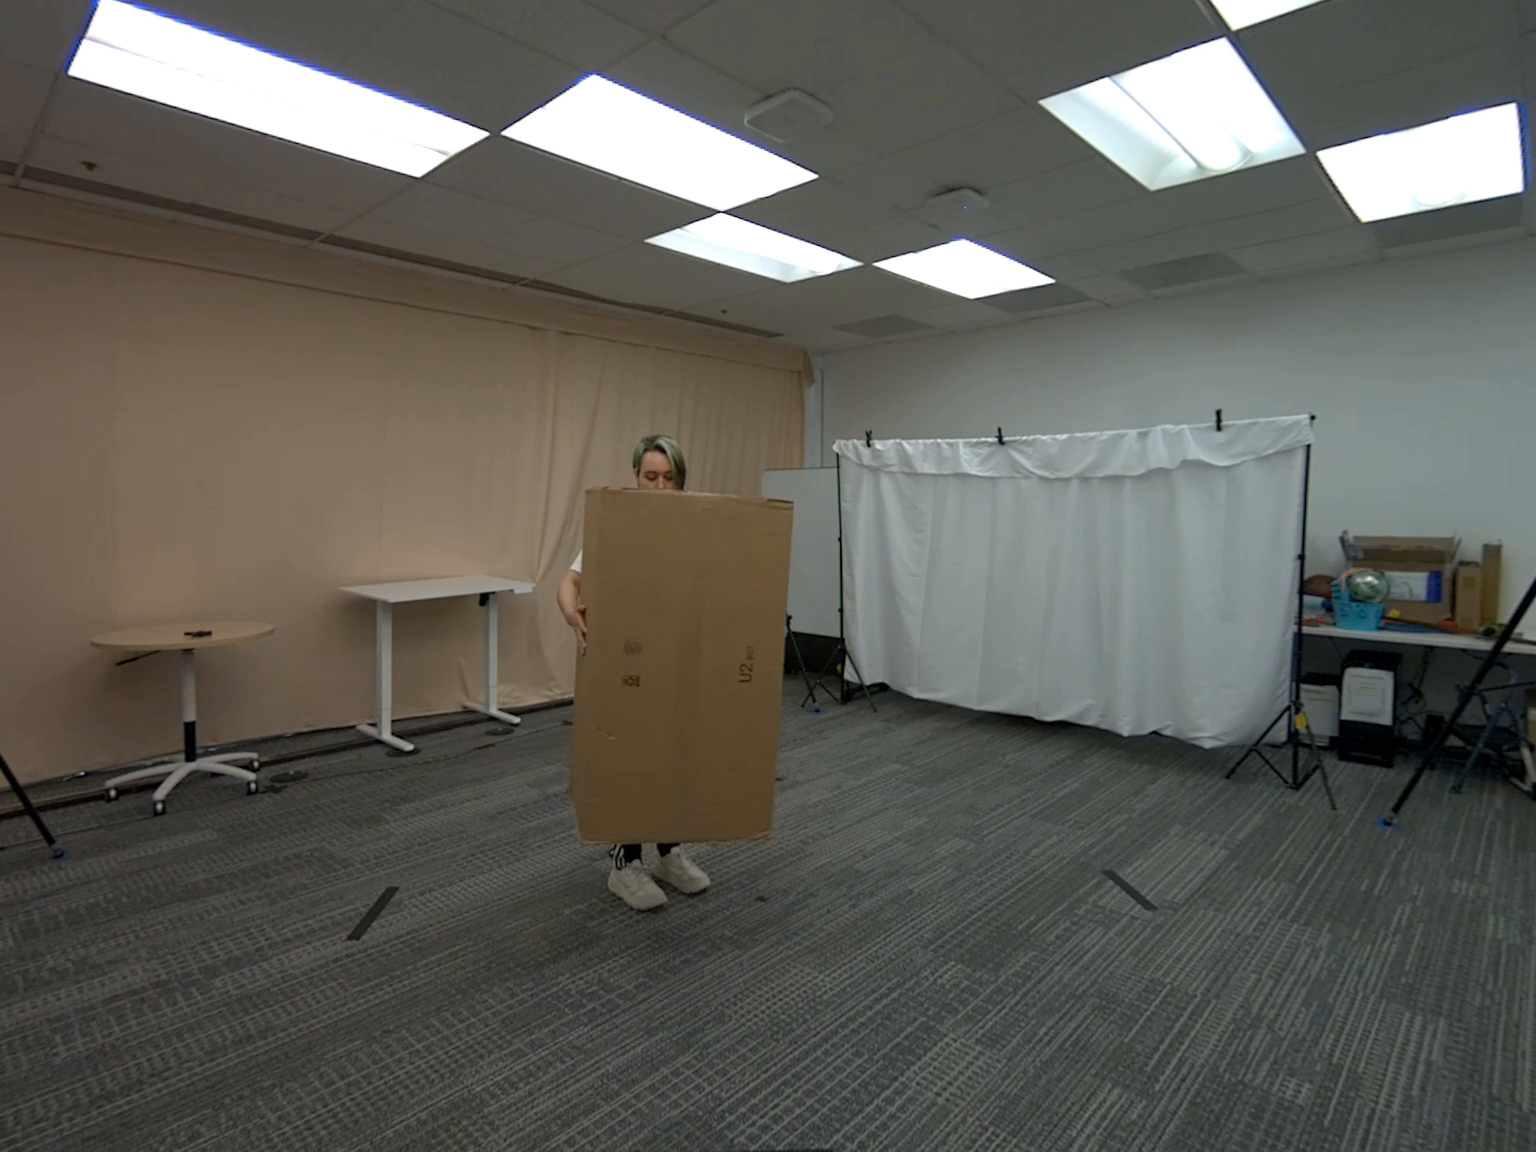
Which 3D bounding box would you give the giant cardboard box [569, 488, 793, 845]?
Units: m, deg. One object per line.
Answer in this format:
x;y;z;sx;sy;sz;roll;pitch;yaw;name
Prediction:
-0.286;0.252;2.636;0.568;1.024;0.434;3;3;-15;giant cardboard box
